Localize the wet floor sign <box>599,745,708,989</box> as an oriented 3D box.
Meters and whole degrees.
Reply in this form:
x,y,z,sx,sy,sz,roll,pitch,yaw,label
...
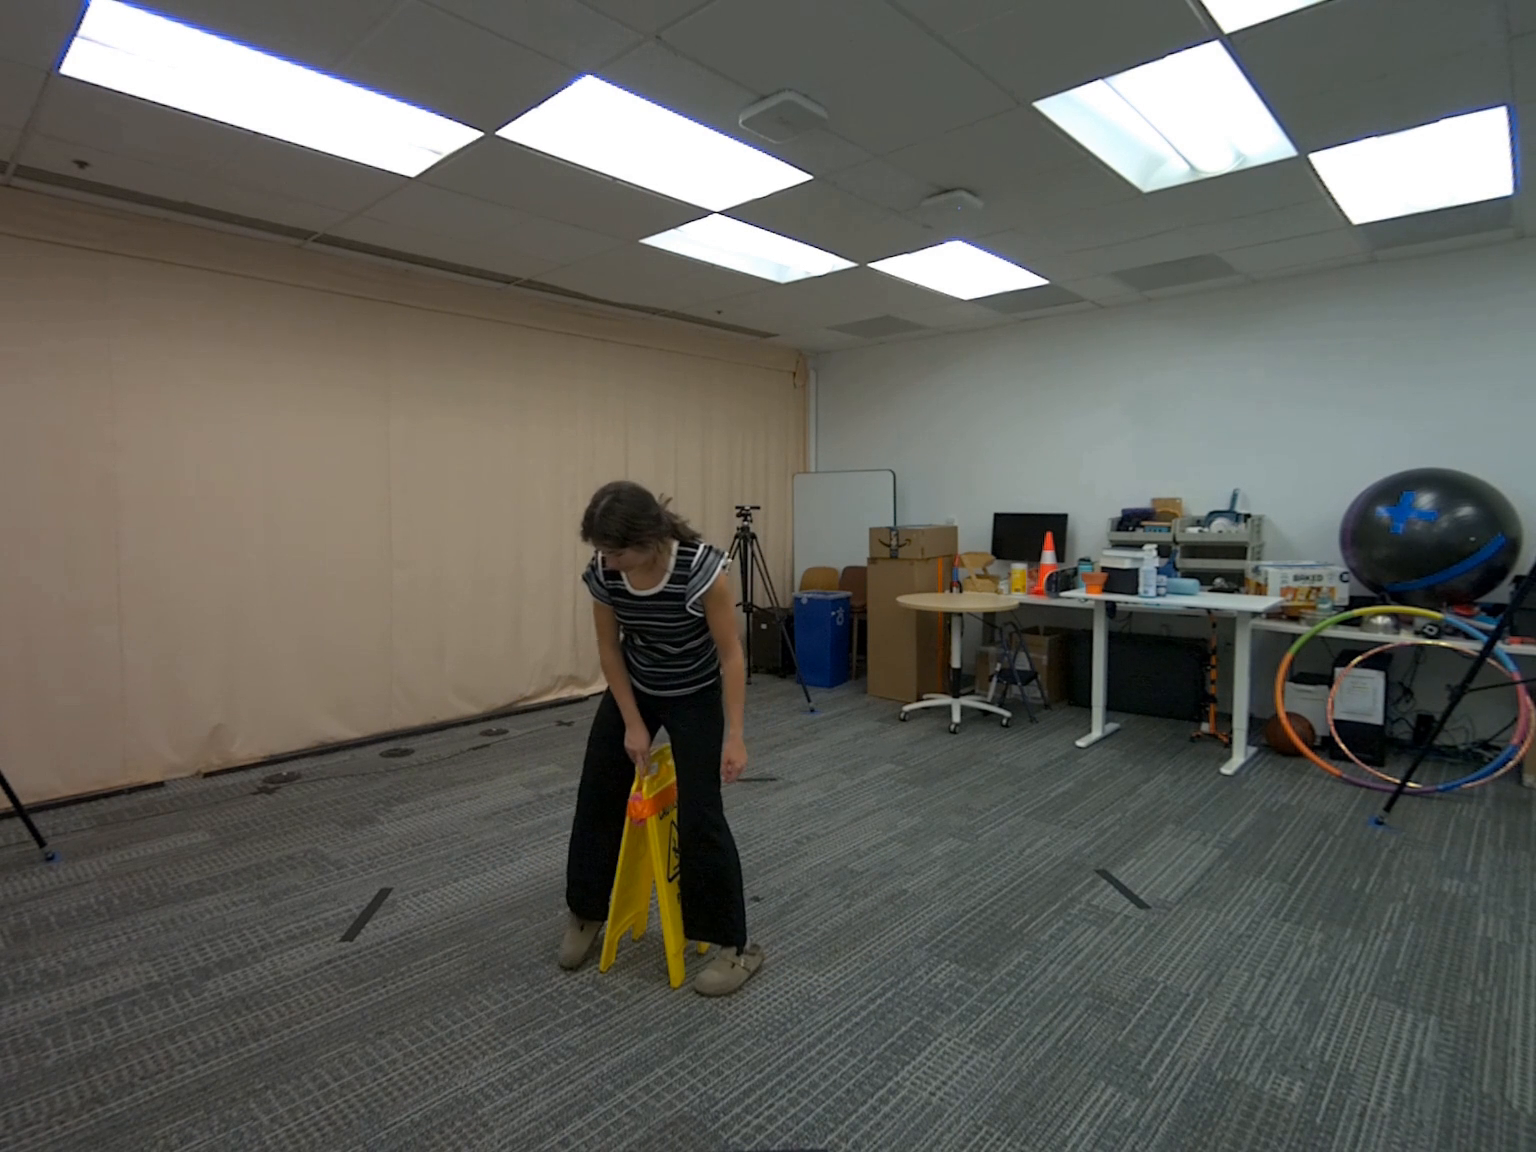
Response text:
x,y,z,sx,sy,sz,roll,pitch,yaw,label
-0.343,0.857,2.581,0.296,0.645,0.276,0,2,20,wet floor sign
